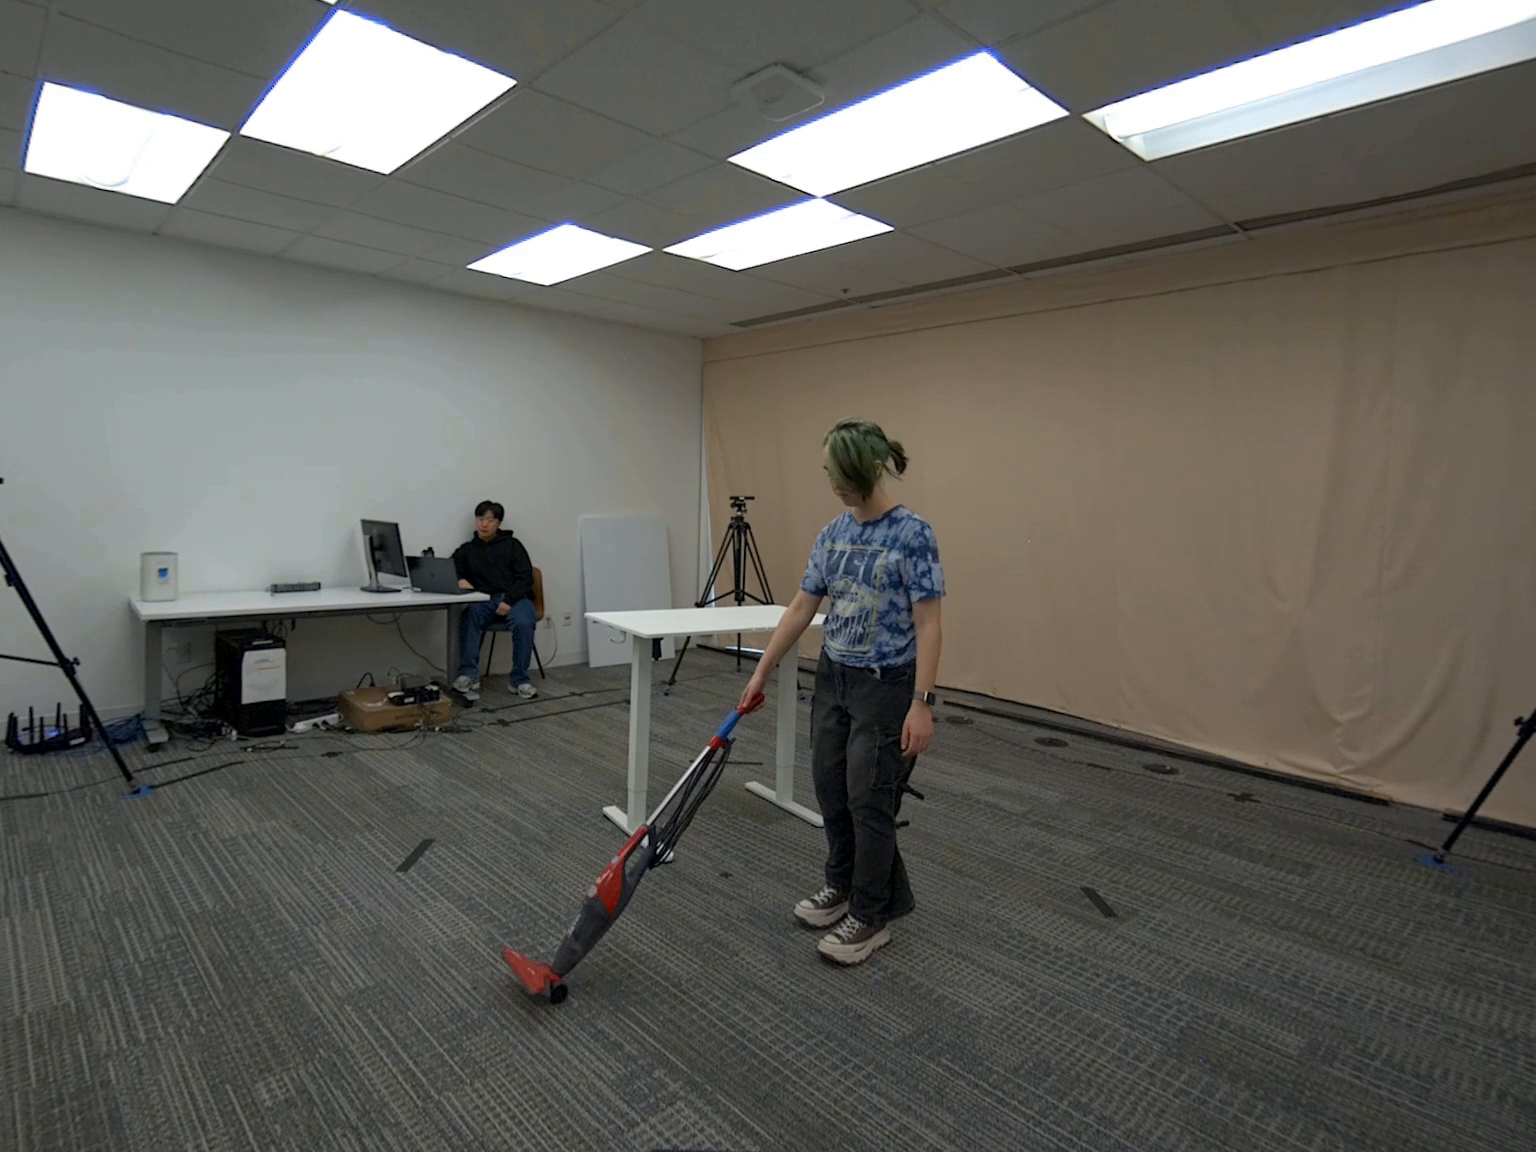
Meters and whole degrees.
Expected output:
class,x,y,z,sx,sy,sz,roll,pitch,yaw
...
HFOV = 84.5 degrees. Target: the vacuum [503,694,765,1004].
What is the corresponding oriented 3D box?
class,x,y,z,sx,sy,sz,roll,pitch,yaw
vacuum,-0.343,0.780,2.514,0.259,0.140,1.049,9,50,50
